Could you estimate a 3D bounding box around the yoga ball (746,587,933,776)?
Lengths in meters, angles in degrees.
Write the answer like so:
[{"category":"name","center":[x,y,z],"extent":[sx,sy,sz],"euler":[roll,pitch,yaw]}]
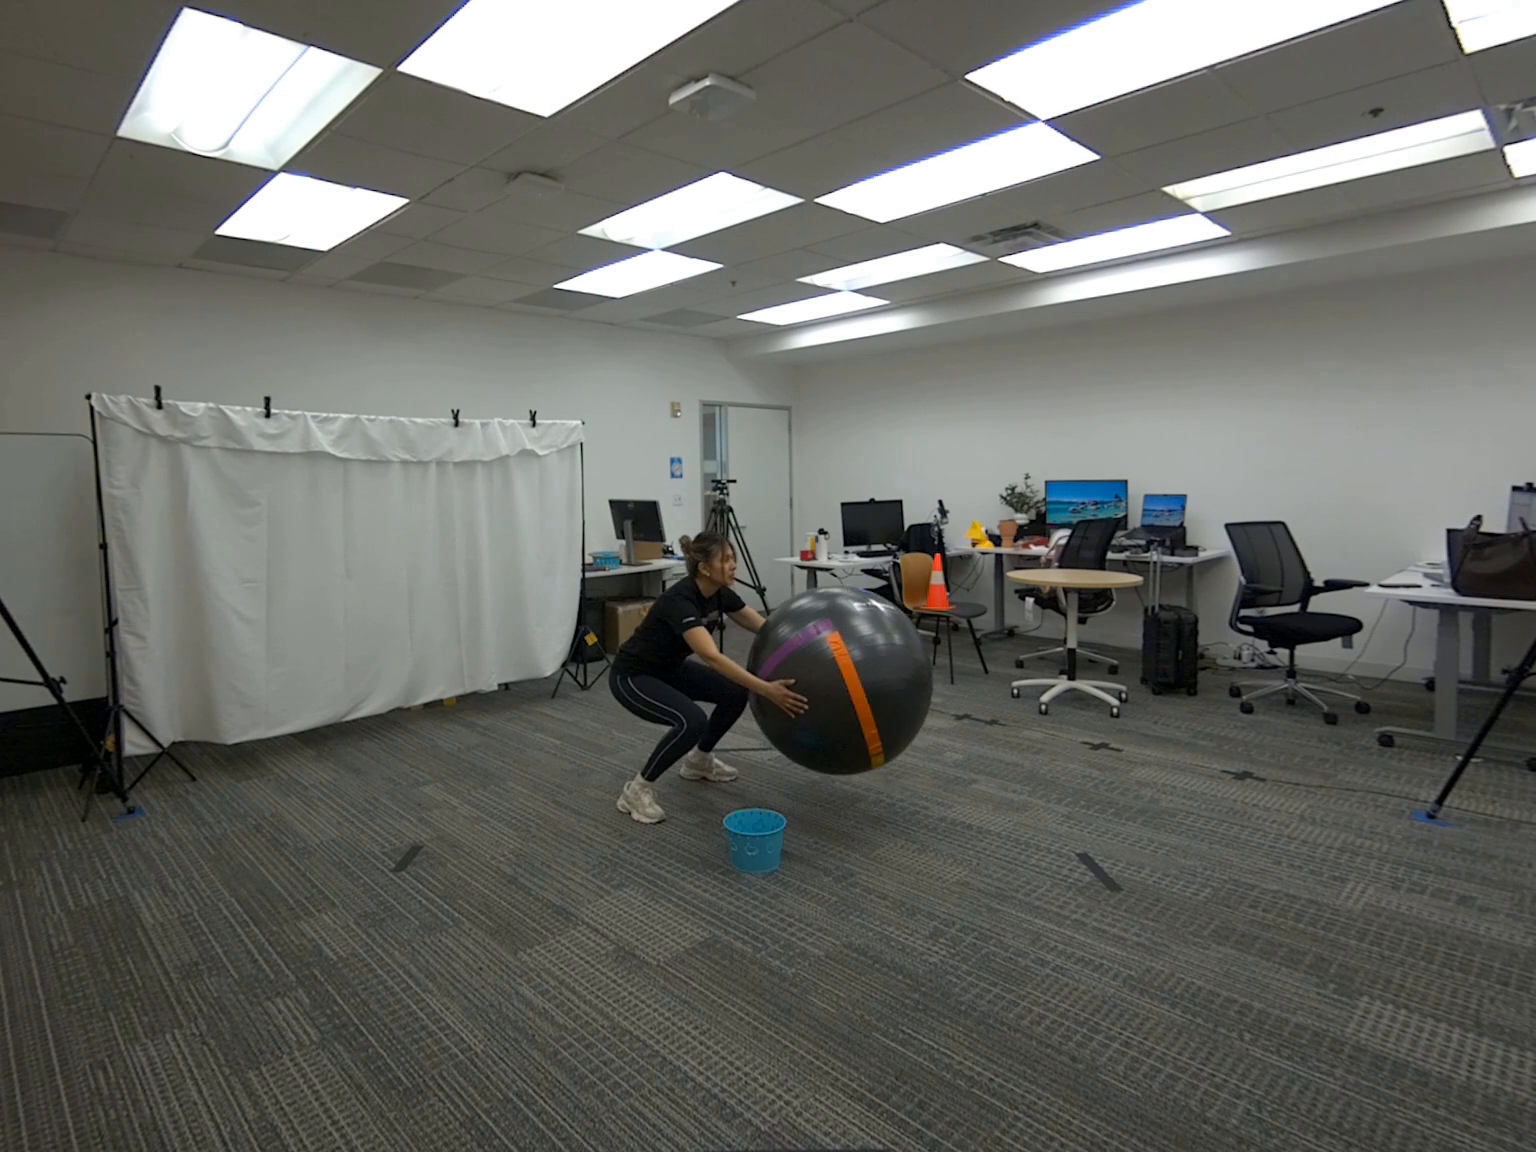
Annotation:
[{"category":"yoga ball","center":[0.289,0.423,3.488],"extent":[0.757,0.755,0.762],"euler":[-1,5,-2]}]
